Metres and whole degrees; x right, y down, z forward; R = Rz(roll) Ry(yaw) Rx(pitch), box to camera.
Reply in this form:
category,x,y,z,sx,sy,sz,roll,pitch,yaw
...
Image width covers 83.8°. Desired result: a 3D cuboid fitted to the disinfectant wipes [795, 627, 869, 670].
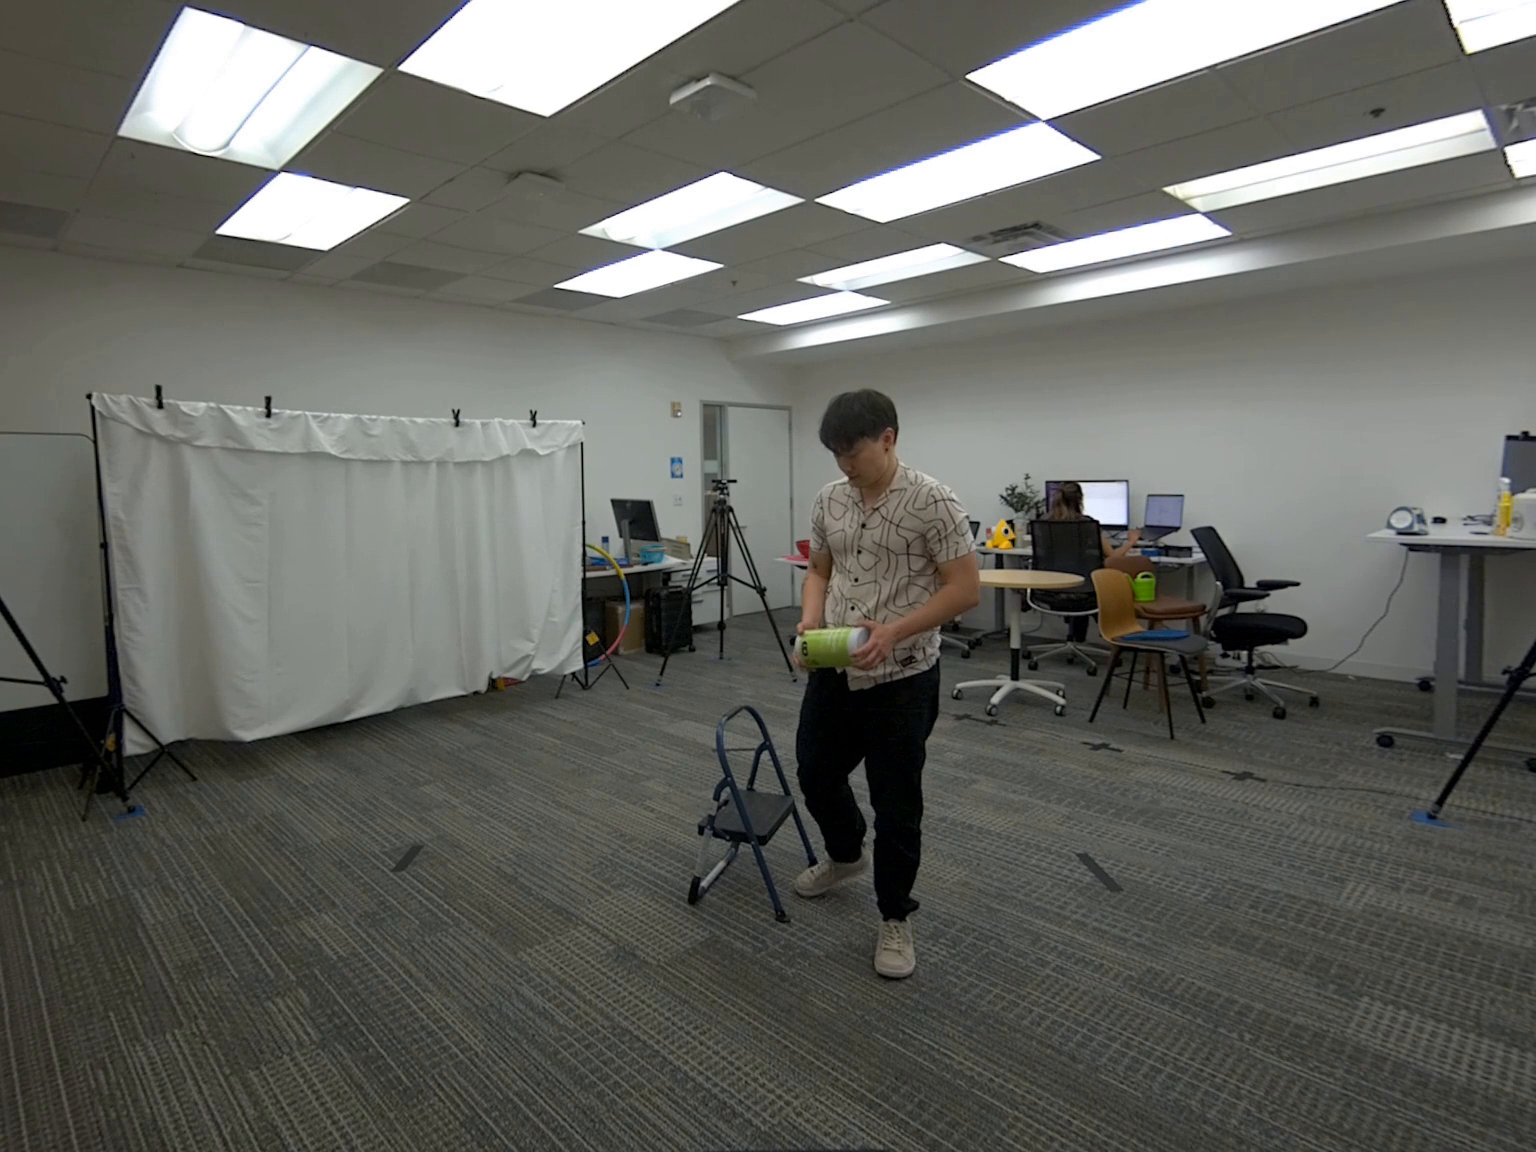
category,x,y,z,sx,sy,sz,roll,pitch,yaw
disinfectant wipes,0.186,0.198,2.392,0.222,0.118,0.115,-9,-2,43
